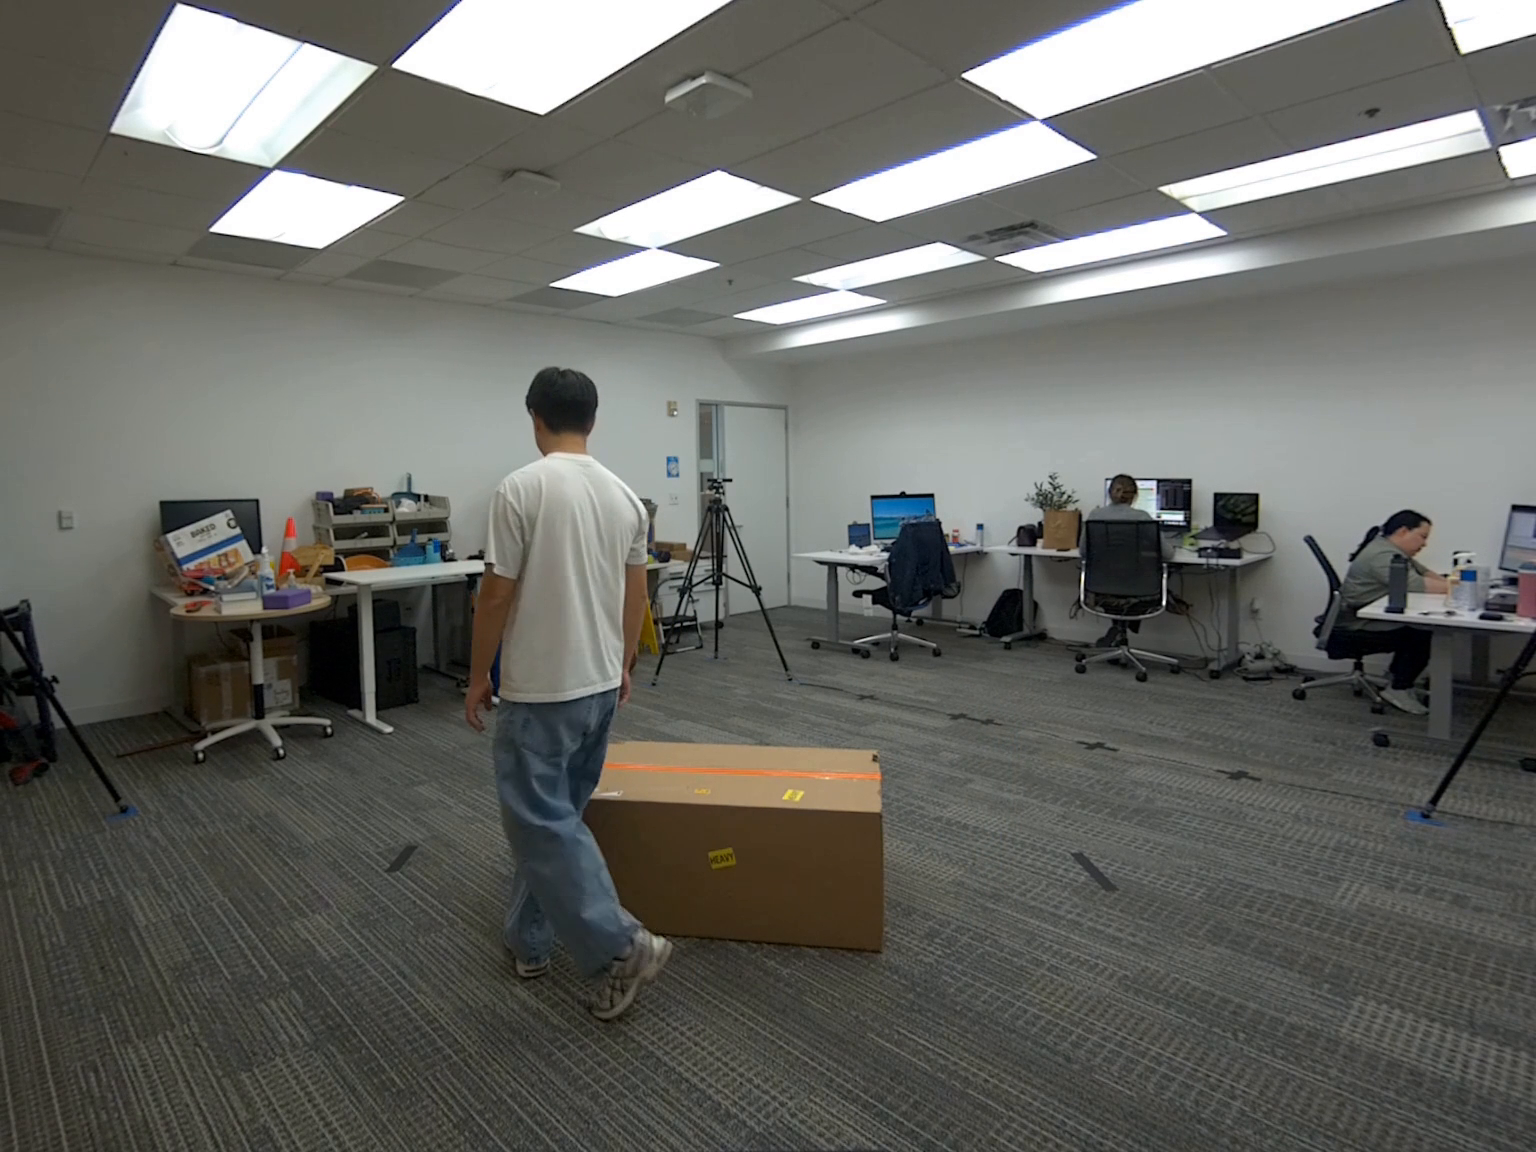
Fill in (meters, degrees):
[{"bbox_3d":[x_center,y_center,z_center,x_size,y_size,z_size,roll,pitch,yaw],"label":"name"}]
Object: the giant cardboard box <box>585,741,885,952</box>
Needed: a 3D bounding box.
[{"bbox_3d":[-0.134,0.856,2.865,1.036,0.424,0.575,0,6,9],"label":"giant cardboard box"}]
